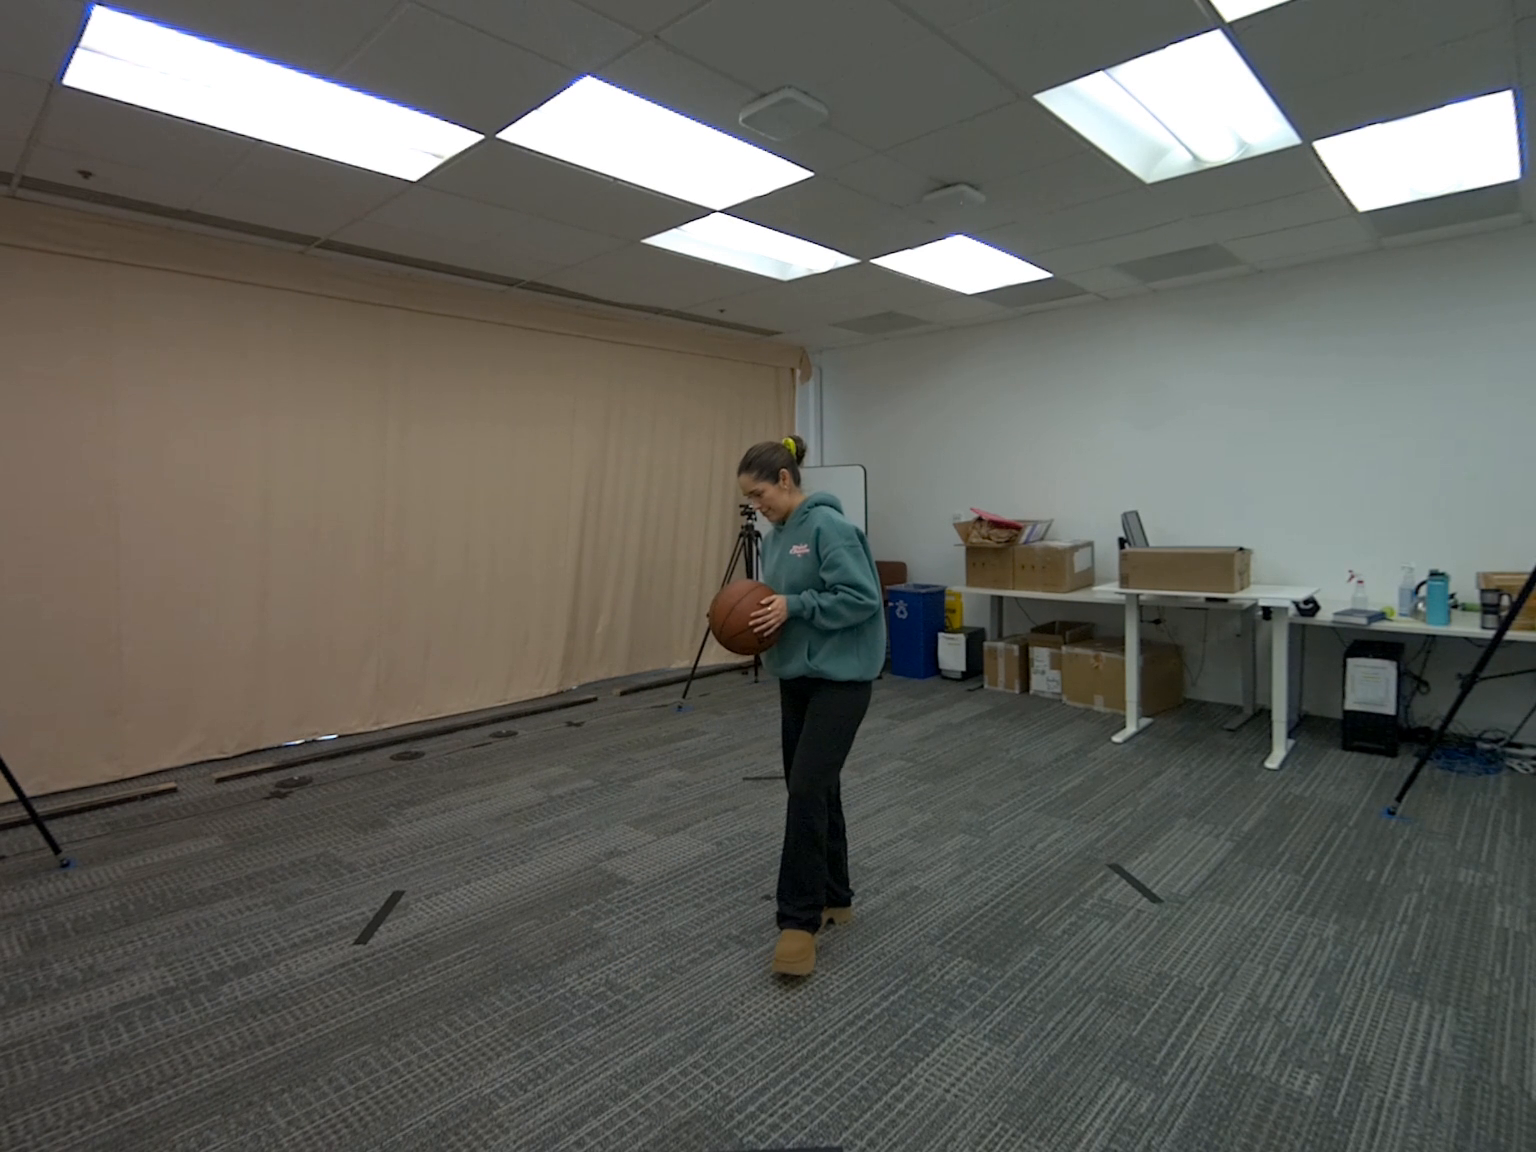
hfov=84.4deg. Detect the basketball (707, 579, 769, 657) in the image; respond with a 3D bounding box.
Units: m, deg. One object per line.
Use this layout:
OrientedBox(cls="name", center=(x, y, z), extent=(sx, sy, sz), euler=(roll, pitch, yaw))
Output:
OrientedBox(cls="basketball", center=(-0.059, 0.129, 2.609), extent=(0.236, 0.235, 0.237), euler=(-1, 4, -2))
